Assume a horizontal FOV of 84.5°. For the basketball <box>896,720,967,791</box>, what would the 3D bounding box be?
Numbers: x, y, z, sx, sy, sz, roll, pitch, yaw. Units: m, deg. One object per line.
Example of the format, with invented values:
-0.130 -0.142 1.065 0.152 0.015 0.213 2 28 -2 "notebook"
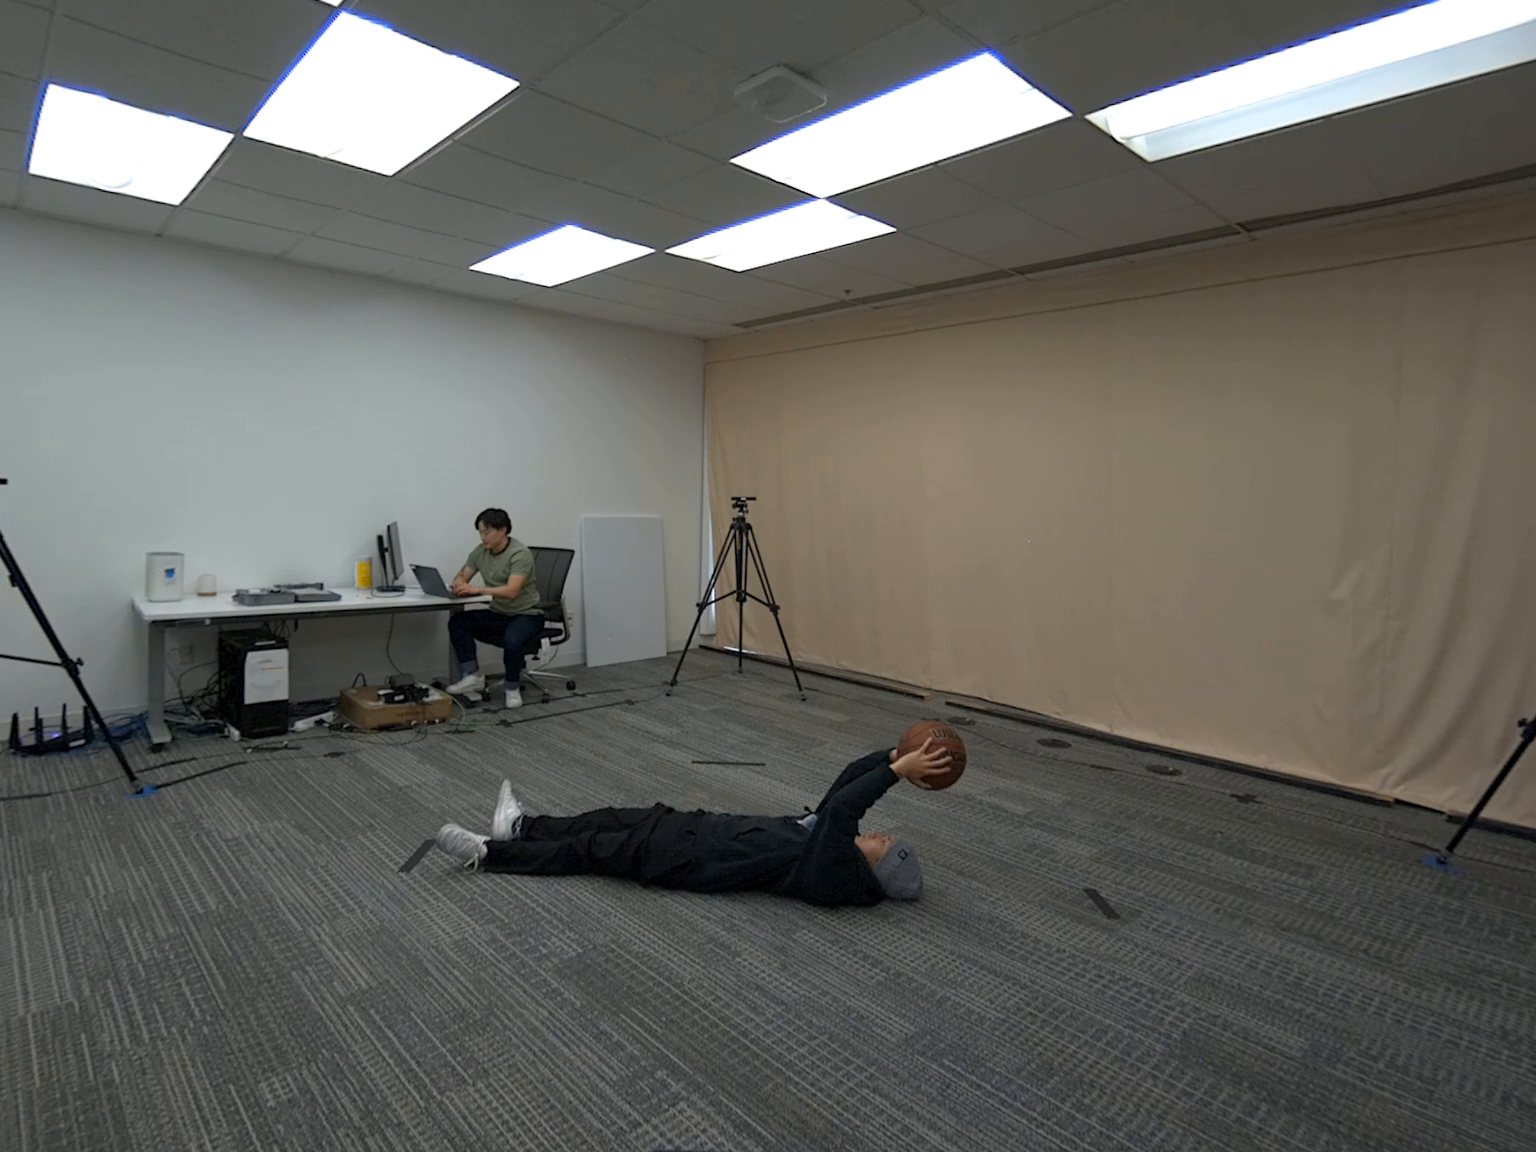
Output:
0.562 0.625 2.954 0.236 0.235 0.237 1 4 -1 "basketball"
